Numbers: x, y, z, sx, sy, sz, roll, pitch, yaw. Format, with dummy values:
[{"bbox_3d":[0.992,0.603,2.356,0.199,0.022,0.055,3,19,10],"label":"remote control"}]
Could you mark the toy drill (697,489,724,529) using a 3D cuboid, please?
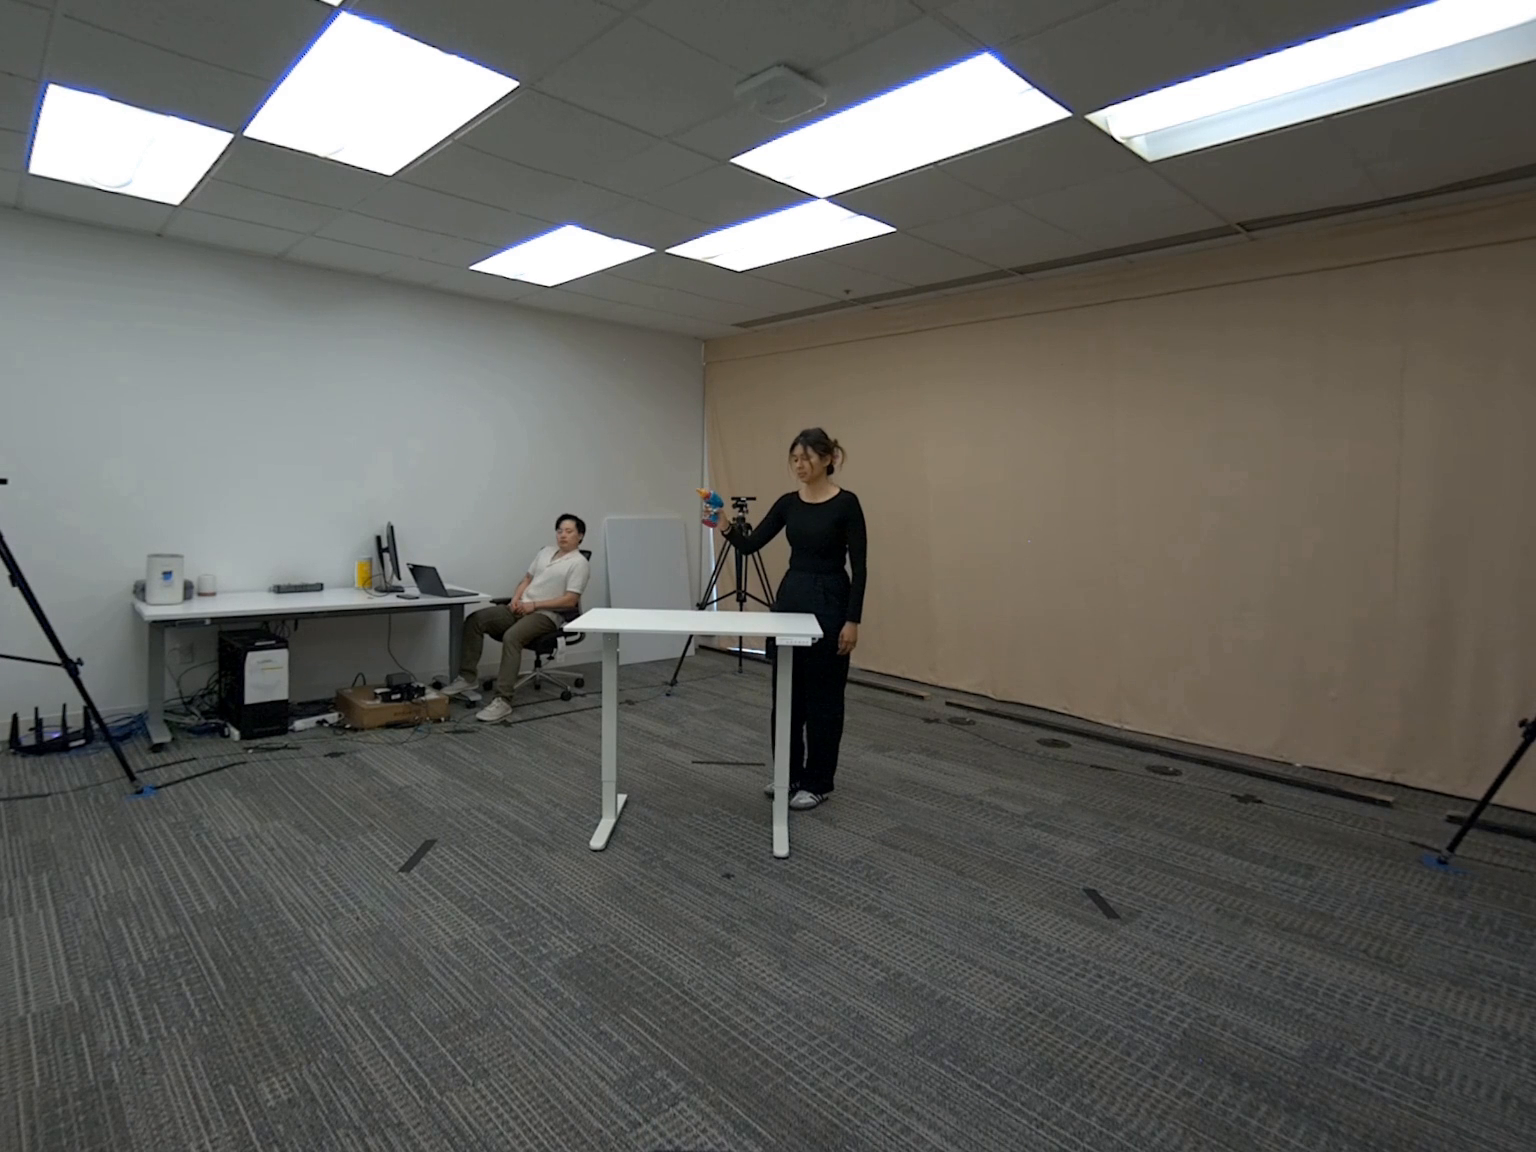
[{"bbox_3d":[-0.267,-0.303,3.623,0.062,0.148,0.164,-7,-28,39],"label":"toy drill"}]
